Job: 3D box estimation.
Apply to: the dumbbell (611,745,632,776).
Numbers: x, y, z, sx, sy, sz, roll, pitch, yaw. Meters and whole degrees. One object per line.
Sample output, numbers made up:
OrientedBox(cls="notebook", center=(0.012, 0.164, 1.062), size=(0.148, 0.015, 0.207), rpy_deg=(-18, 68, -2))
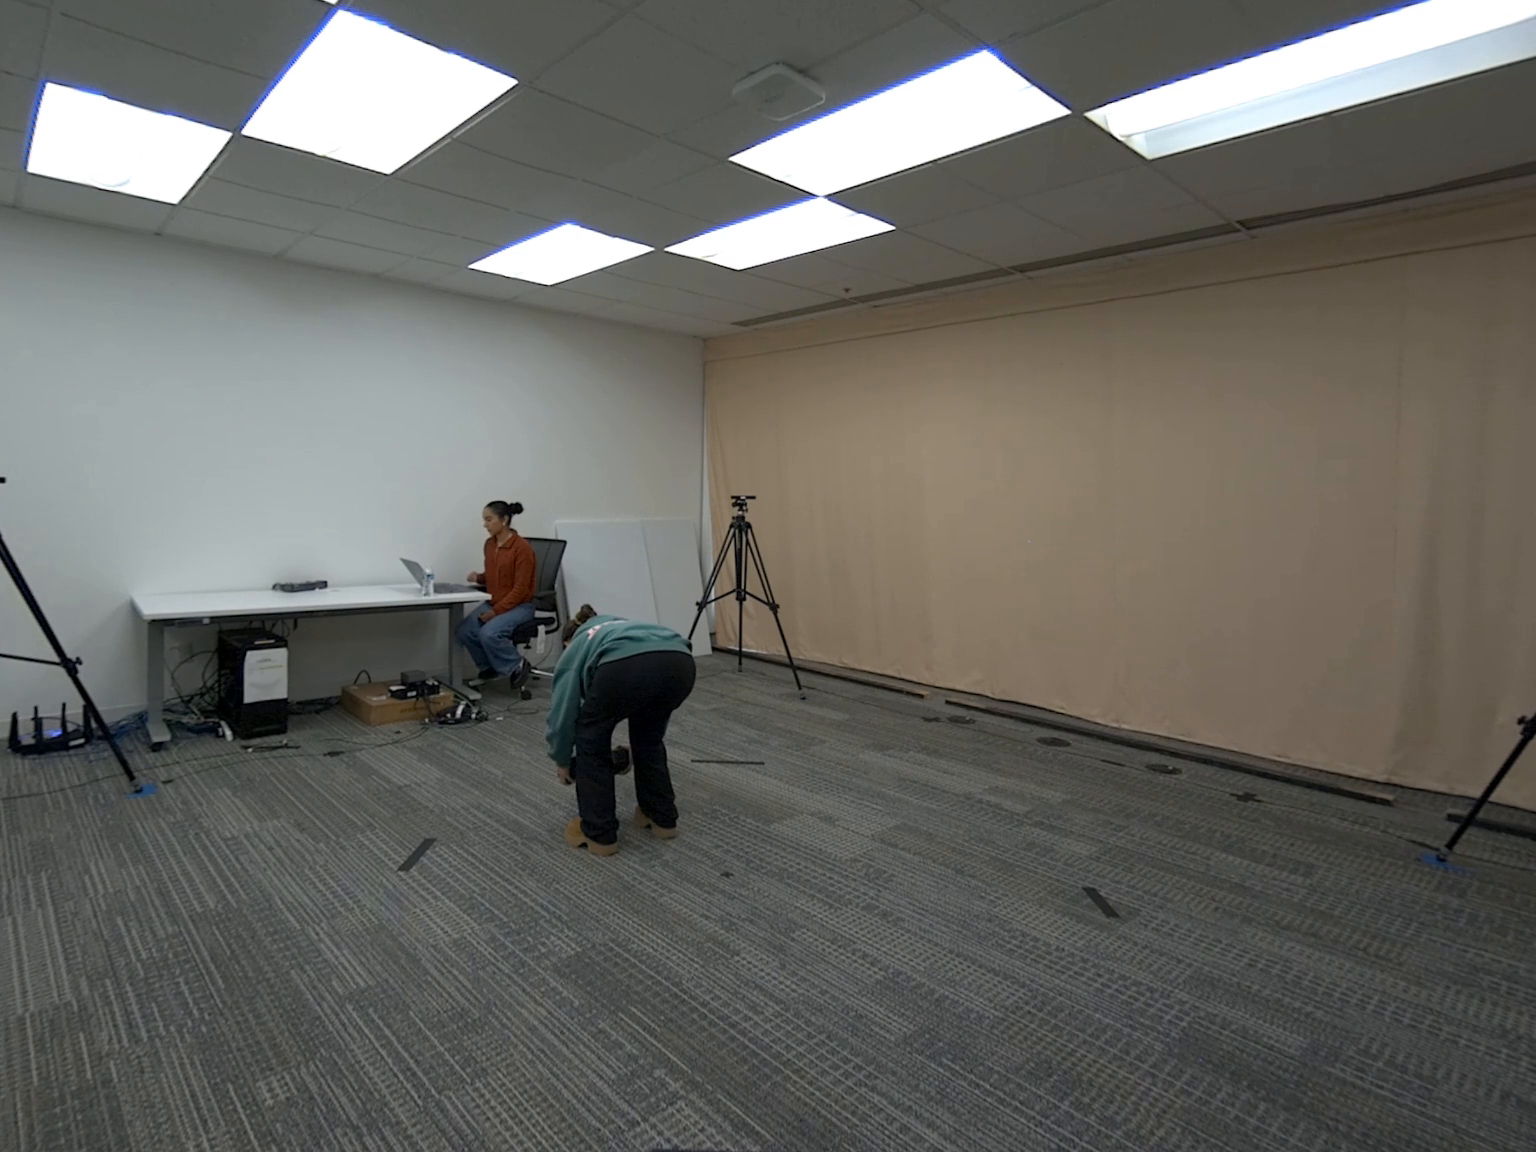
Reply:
OrientedBox(cls="dumbbell", center=(-0.743, 0.817, 3.630), size=(0.287, 0.122, 0.112), rpy_deg=(-1, 20, -34))
